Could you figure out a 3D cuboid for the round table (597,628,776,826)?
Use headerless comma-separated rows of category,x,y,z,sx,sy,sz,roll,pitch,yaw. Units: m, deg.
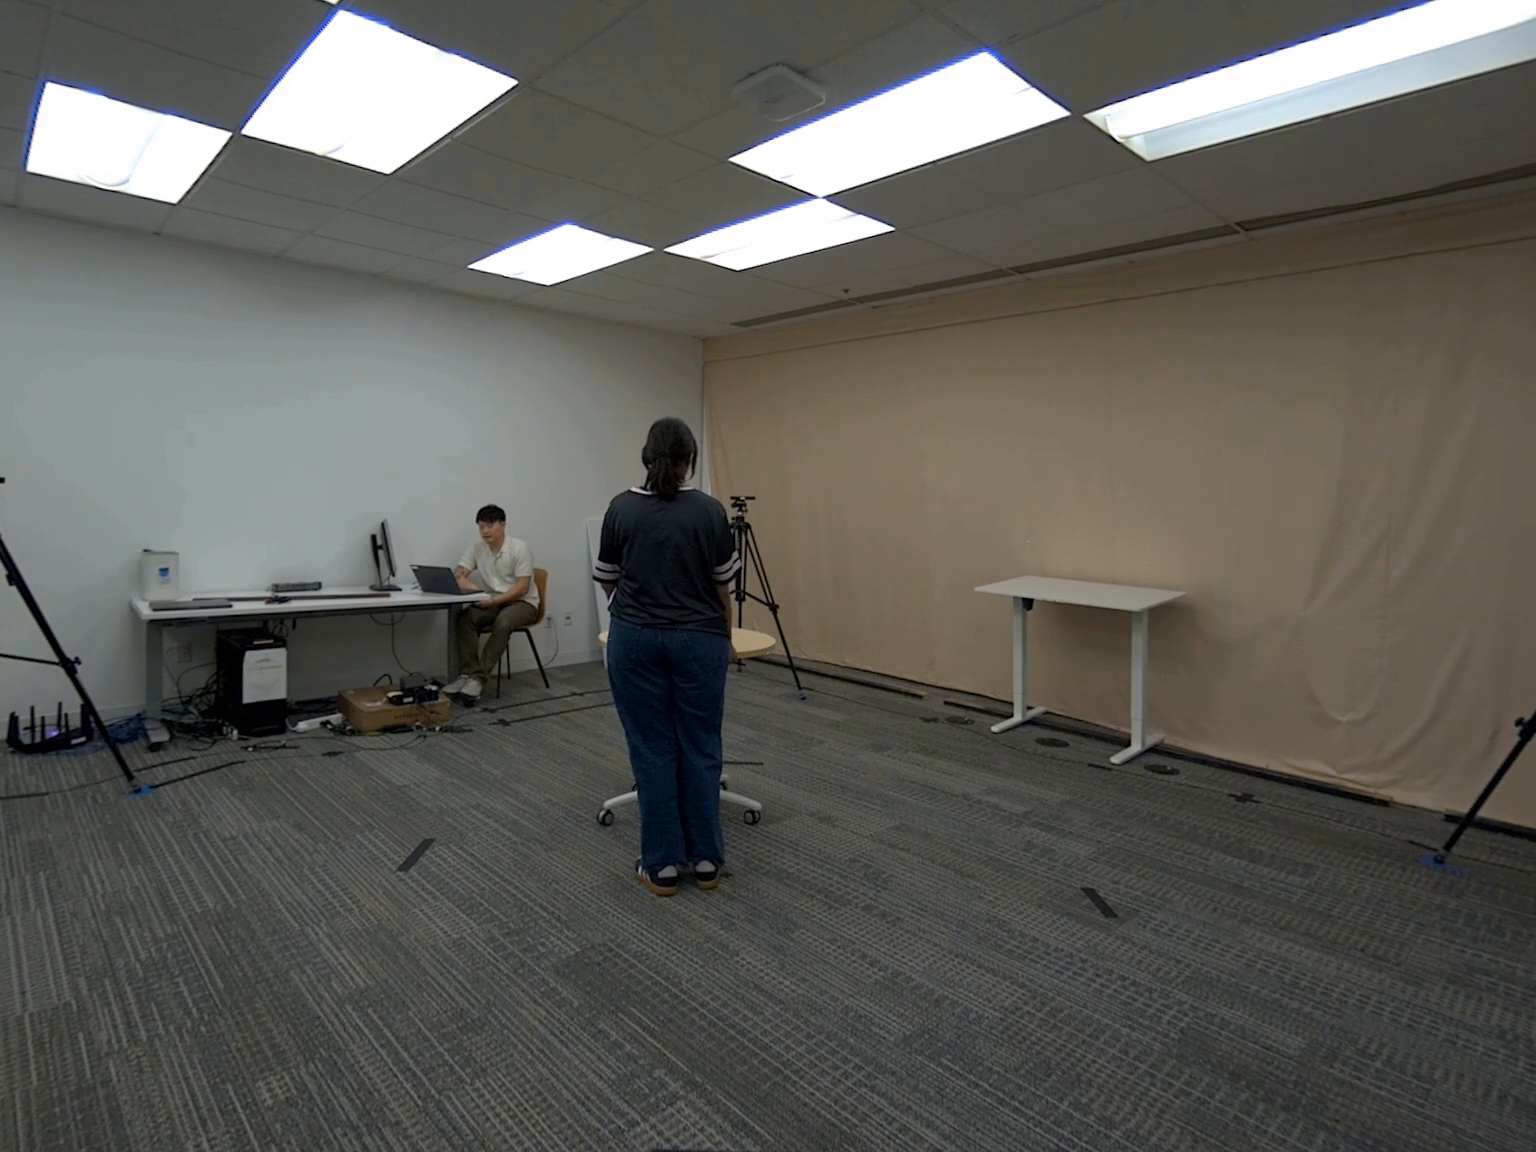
round table,-0.375,0.662,3.659,0.784,0.785,0.787,2,3,-1
